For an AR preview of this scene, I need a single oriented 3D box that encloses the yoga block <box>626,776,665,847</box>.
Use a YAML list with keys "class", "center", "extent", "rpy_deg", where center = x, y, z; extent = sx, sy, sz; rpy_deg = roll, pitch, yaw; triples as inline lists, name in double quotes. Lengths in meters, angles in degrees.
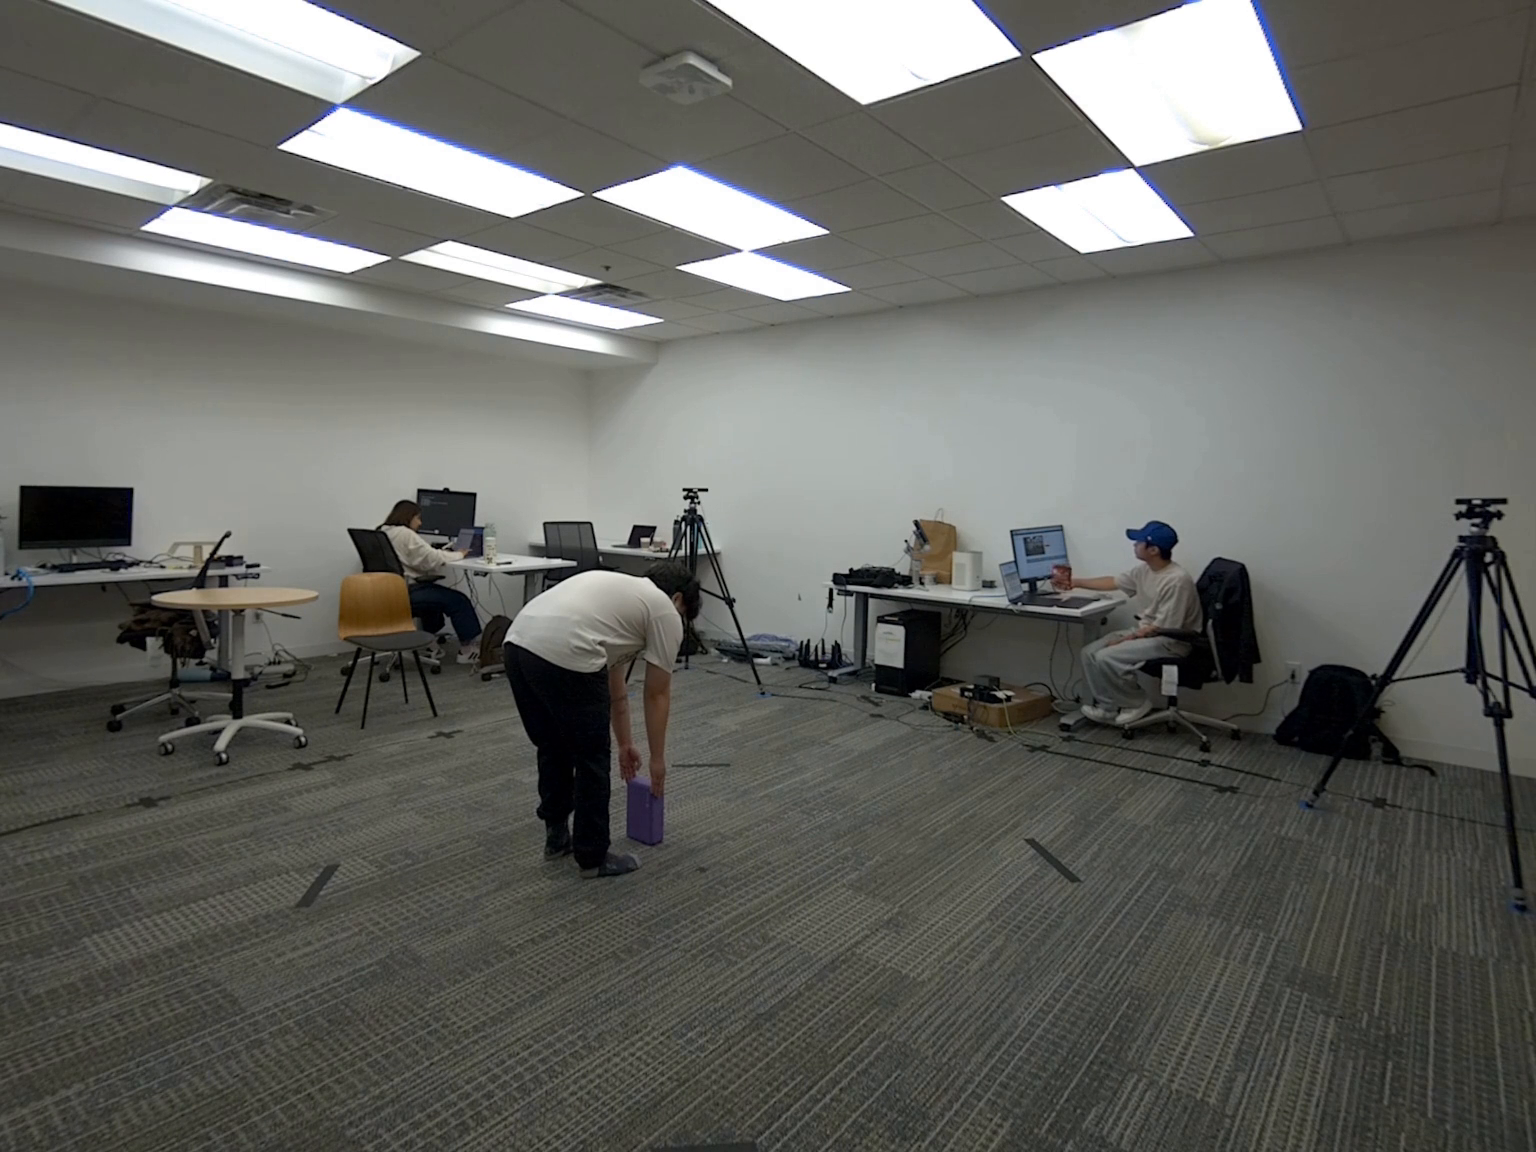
- class: "yoga block"
  center: [-0.503, 0.929, 3.370]
  extent: [0.154, 0.229, 0.074]
  rpy_deg: [1, 4, 39]
